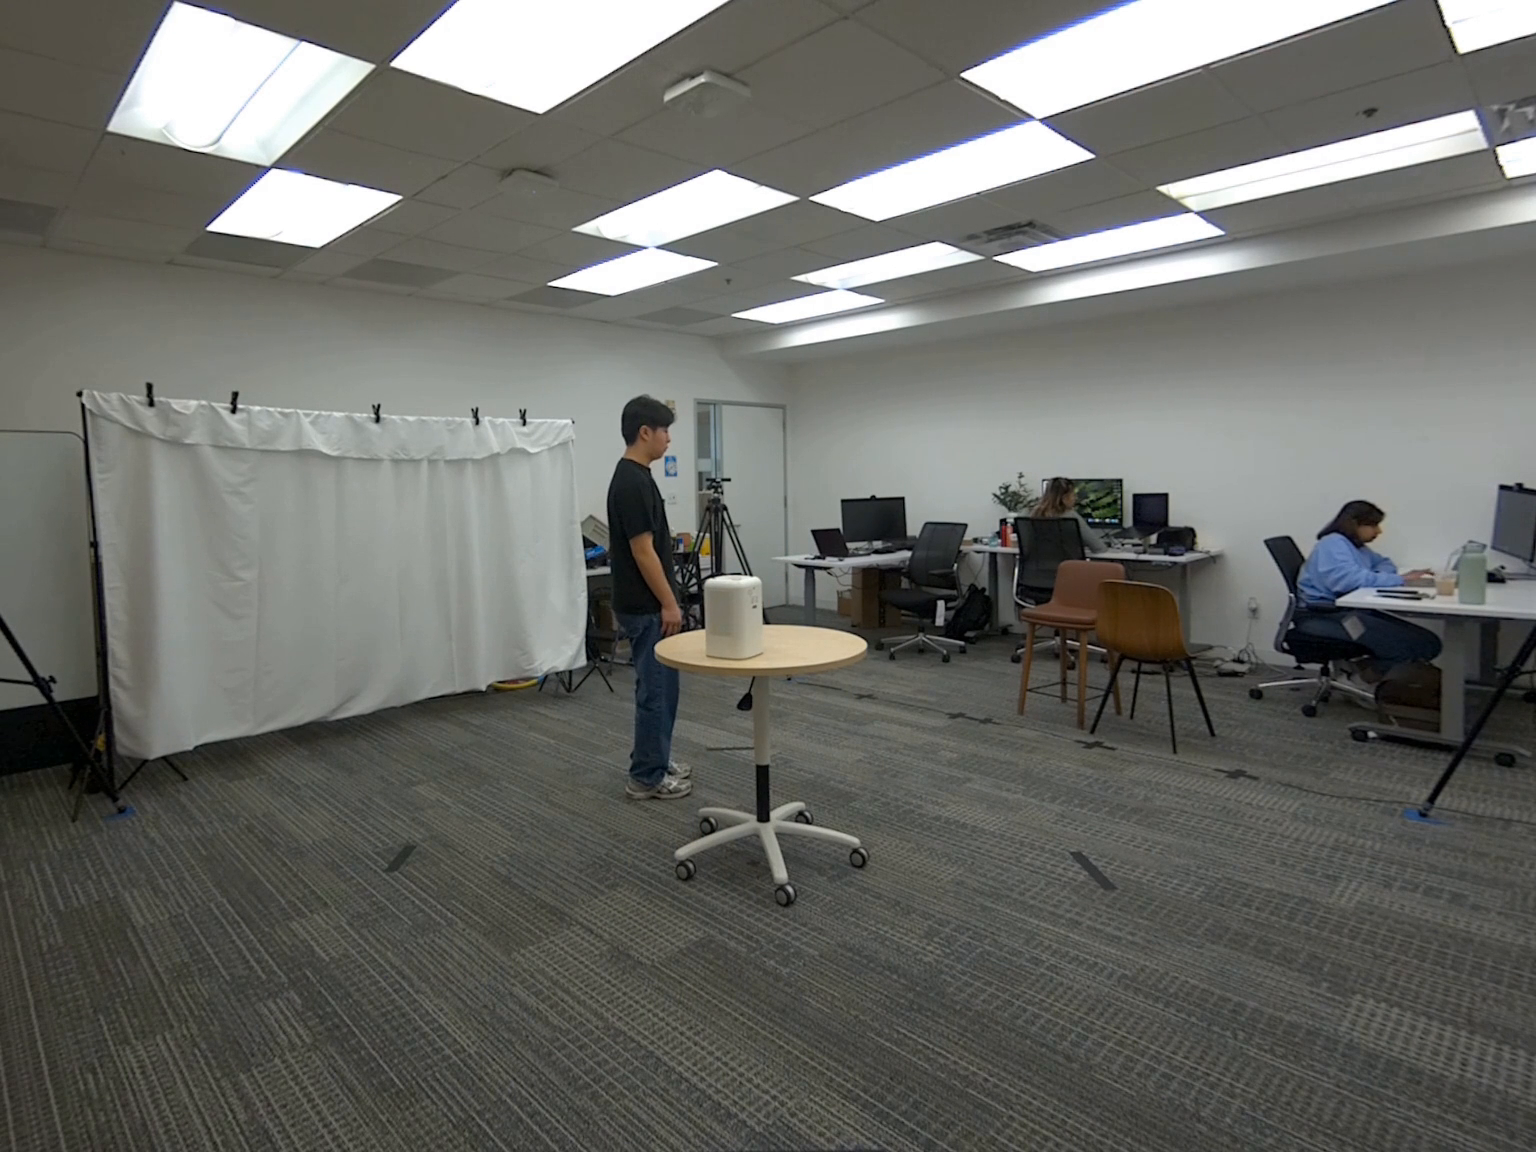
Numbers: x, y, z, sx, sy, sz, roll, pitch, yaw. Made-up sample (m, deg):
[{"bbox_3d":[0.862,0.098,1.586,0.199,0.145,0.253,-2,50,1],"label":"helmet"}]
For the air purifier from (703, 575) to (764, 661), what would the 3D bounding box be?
[{"bbox_3d":[-0.113,0.135,2.924,0.176,0.264,0.167,1,5,33],"label":"air purifier"}]
